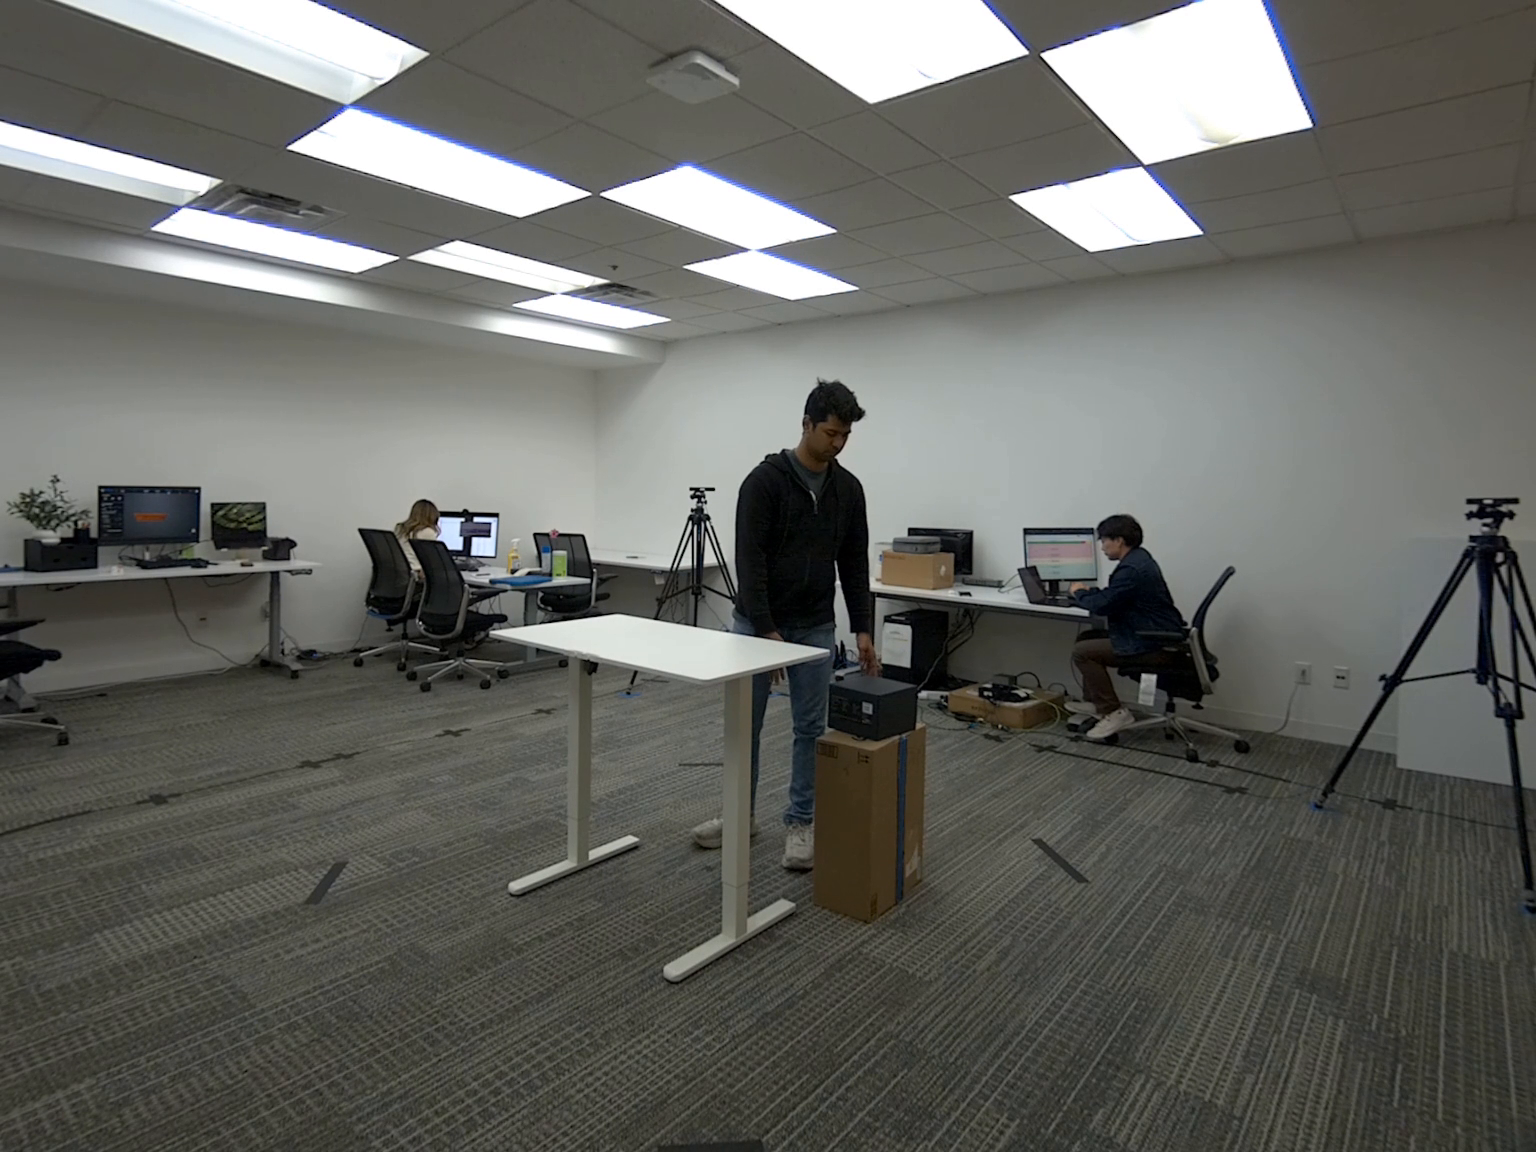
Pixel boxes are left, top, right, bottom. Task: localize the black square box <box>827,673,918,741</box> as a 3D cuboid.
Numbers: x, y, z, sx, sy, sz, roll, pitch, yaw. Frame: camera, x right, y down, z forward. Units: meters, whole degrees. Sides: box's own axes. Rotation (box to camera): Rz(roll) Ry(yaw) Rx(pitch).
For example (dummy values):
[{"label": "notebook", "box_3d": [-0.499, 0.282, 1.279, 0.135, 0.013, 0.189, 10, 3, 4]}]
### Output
[{"label": "black square box", "box_3d": [0.360, 0.452, 2.947, 0.224, 0.155, 0.221, 6, 7, 44]}]
